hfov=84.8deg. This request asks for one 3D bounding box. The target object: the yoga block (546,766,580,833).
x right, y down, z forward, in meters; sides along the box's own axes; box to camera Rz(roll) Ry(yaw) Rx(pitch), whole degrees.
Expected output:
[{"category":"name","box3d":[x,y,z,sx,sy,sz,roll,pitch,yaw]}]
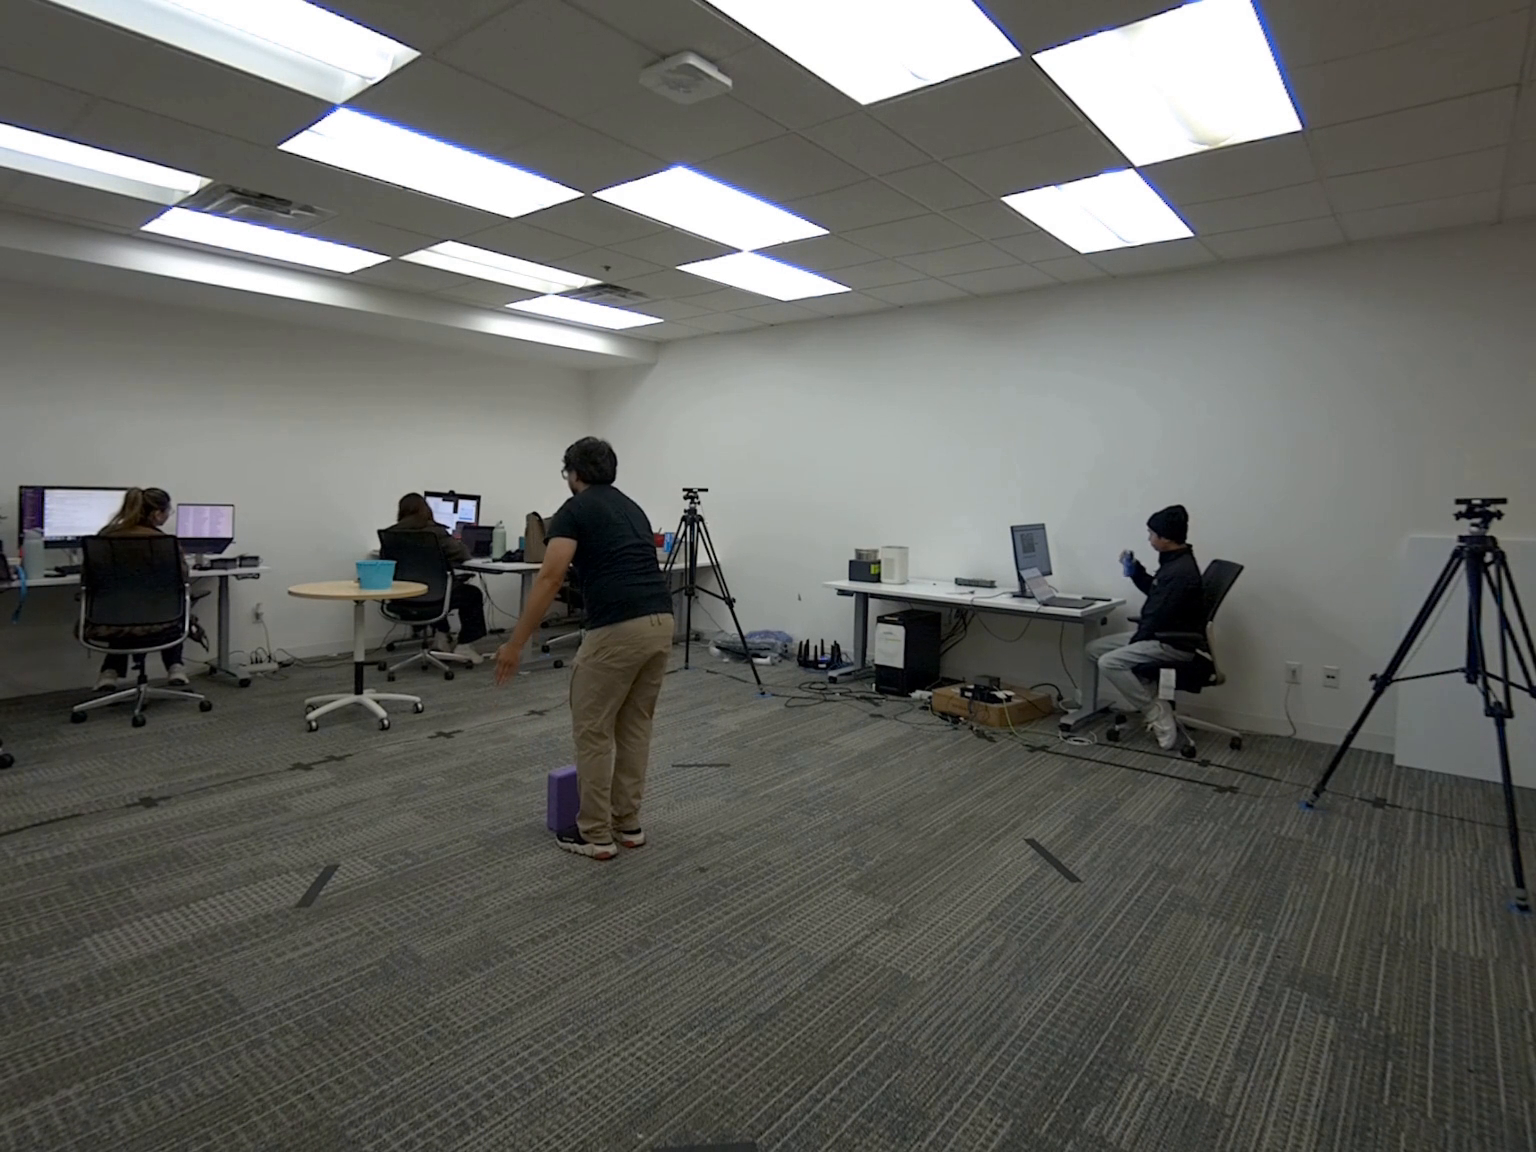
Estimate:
[{"category":"yoga block","box3d":[-0.841,0.904,3.492,0.144,0.228,0.079,-2,5,-43]}]
